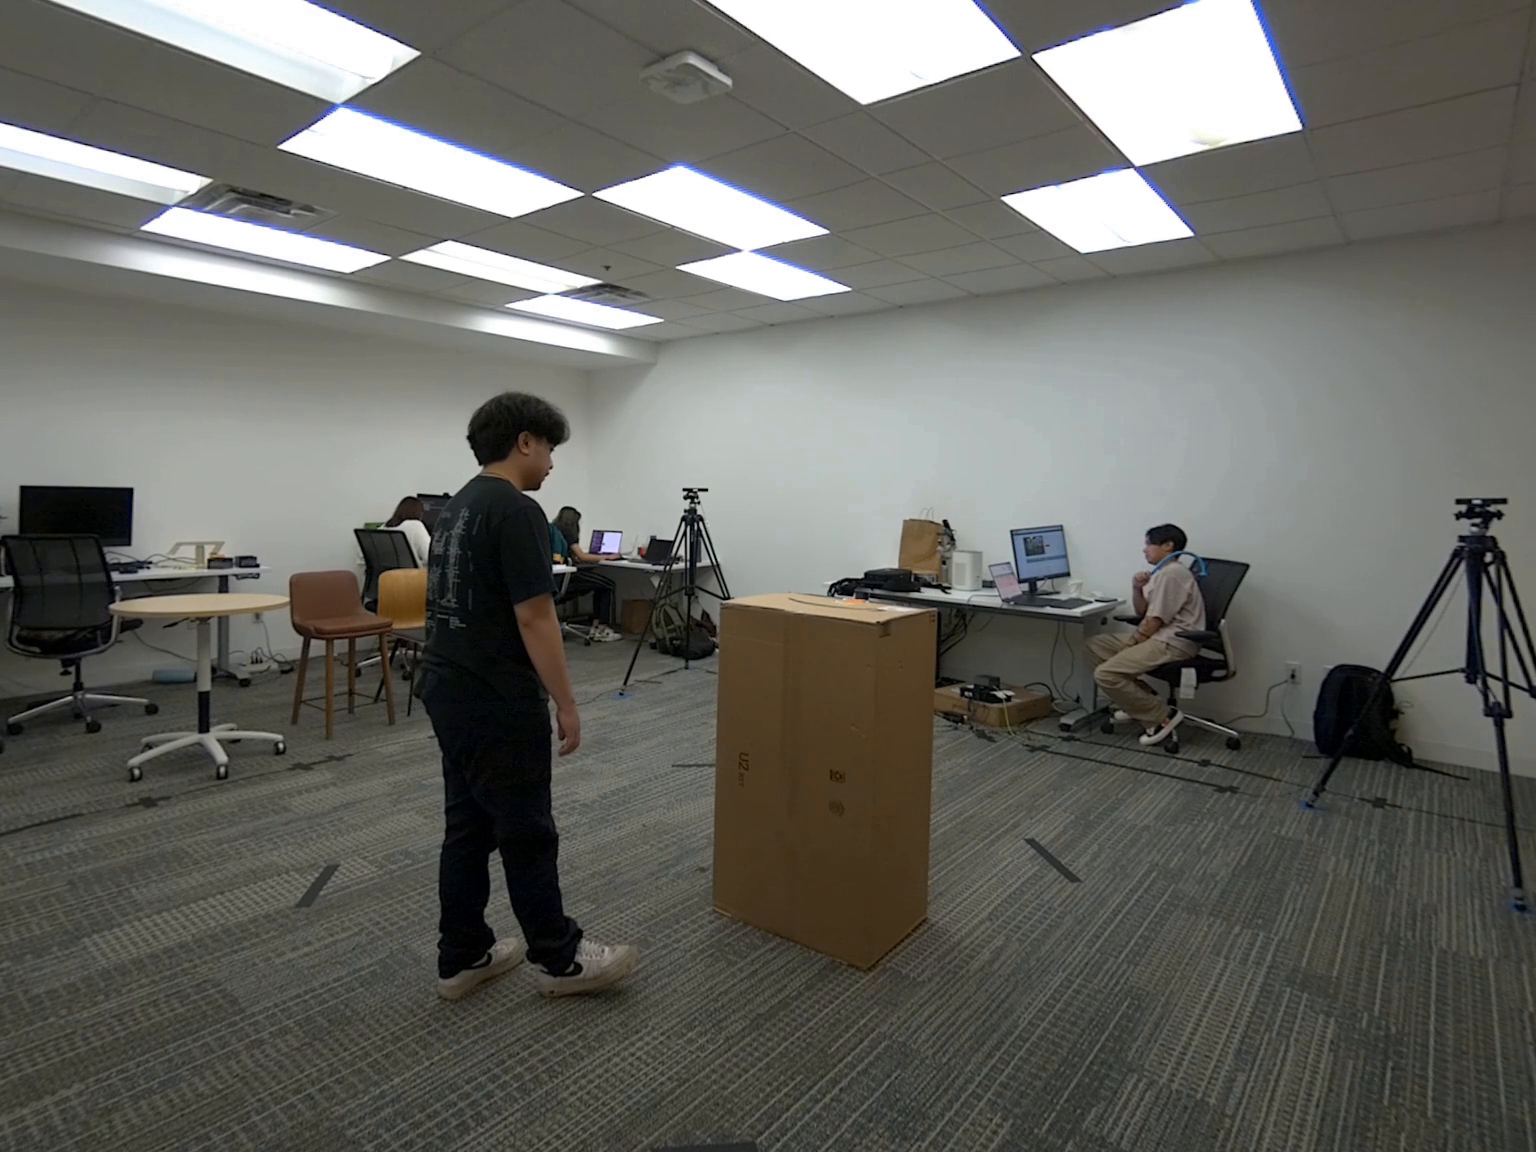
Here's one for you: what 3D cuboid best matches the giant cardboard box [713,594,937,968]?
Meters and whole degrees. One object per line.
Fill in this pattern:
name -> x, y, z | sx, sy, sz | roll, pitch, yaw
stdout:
giant cardboard box -> 0.176, 0.599, 2.782 | 0.603, 1.025, 0.433 | 4, 3, 37
